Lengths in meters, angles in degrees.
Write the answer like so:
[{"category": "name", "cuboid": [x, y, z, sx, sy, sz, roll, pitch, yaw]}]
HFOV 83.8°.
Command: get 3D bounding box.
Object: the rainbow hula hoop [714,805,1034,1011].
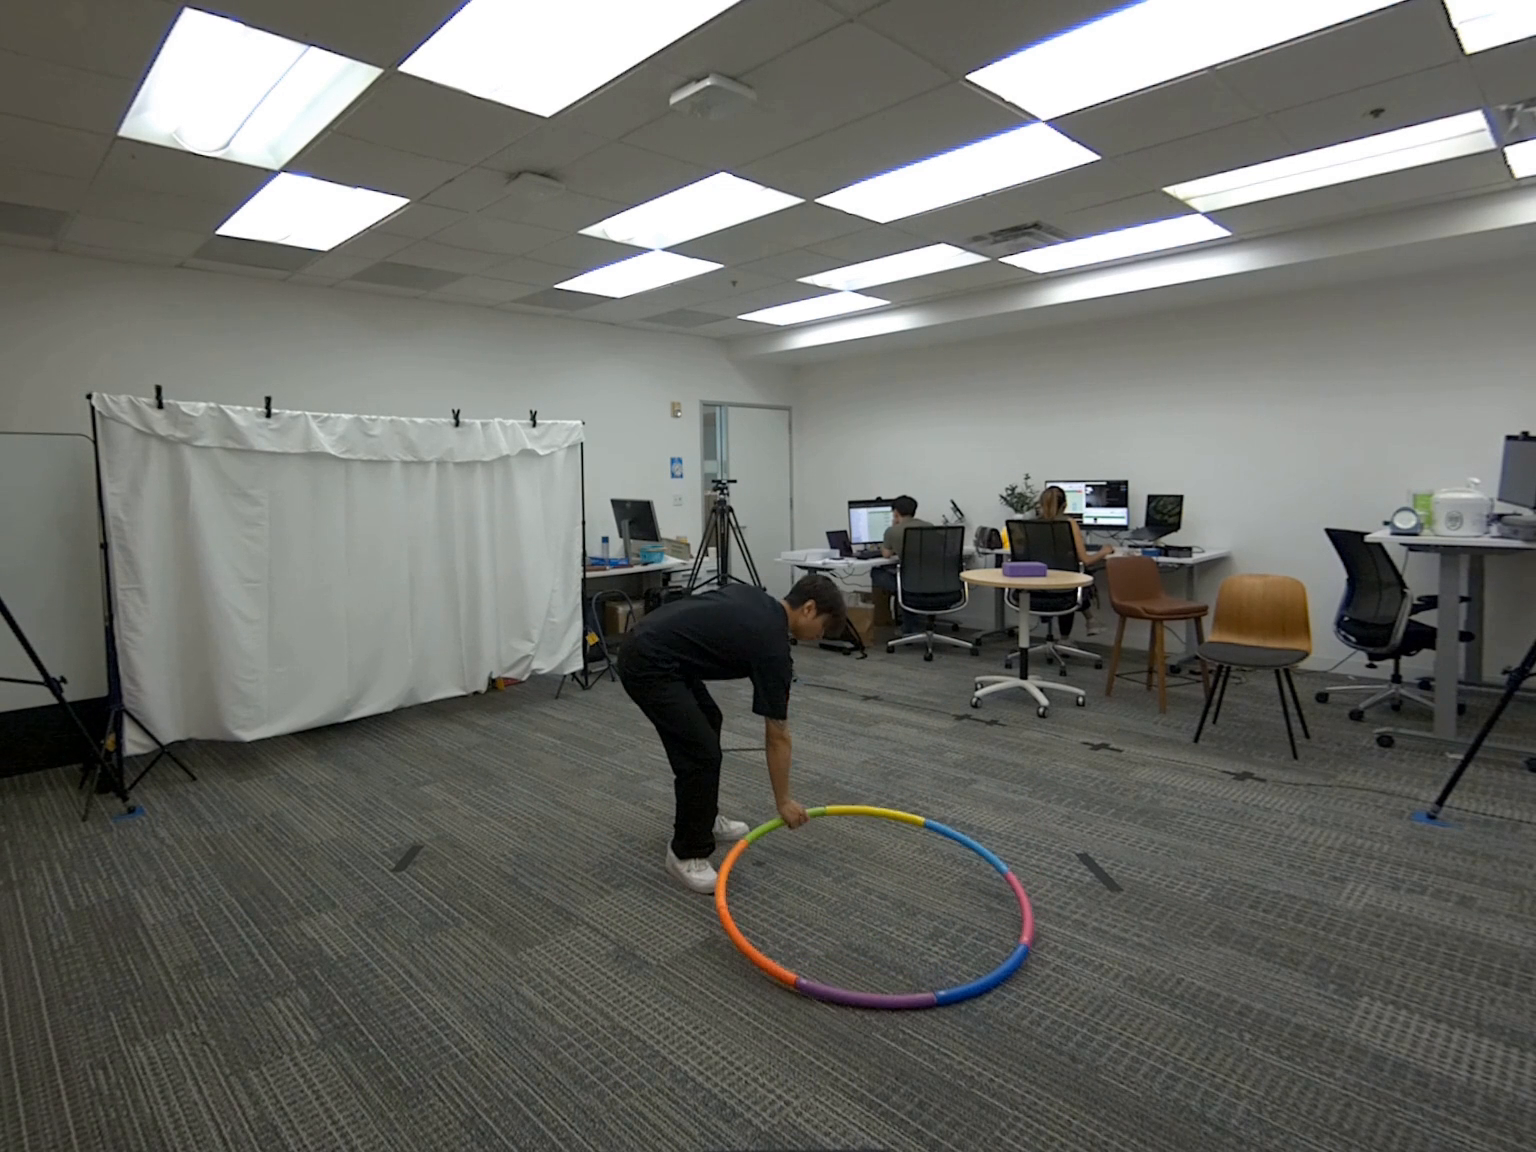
[{"category": "rainbow hula hoop", "cuboid": [0.328, 0.996, 2.716, 0.978, 0.035, 0.991, 0, 15, -2]}]
